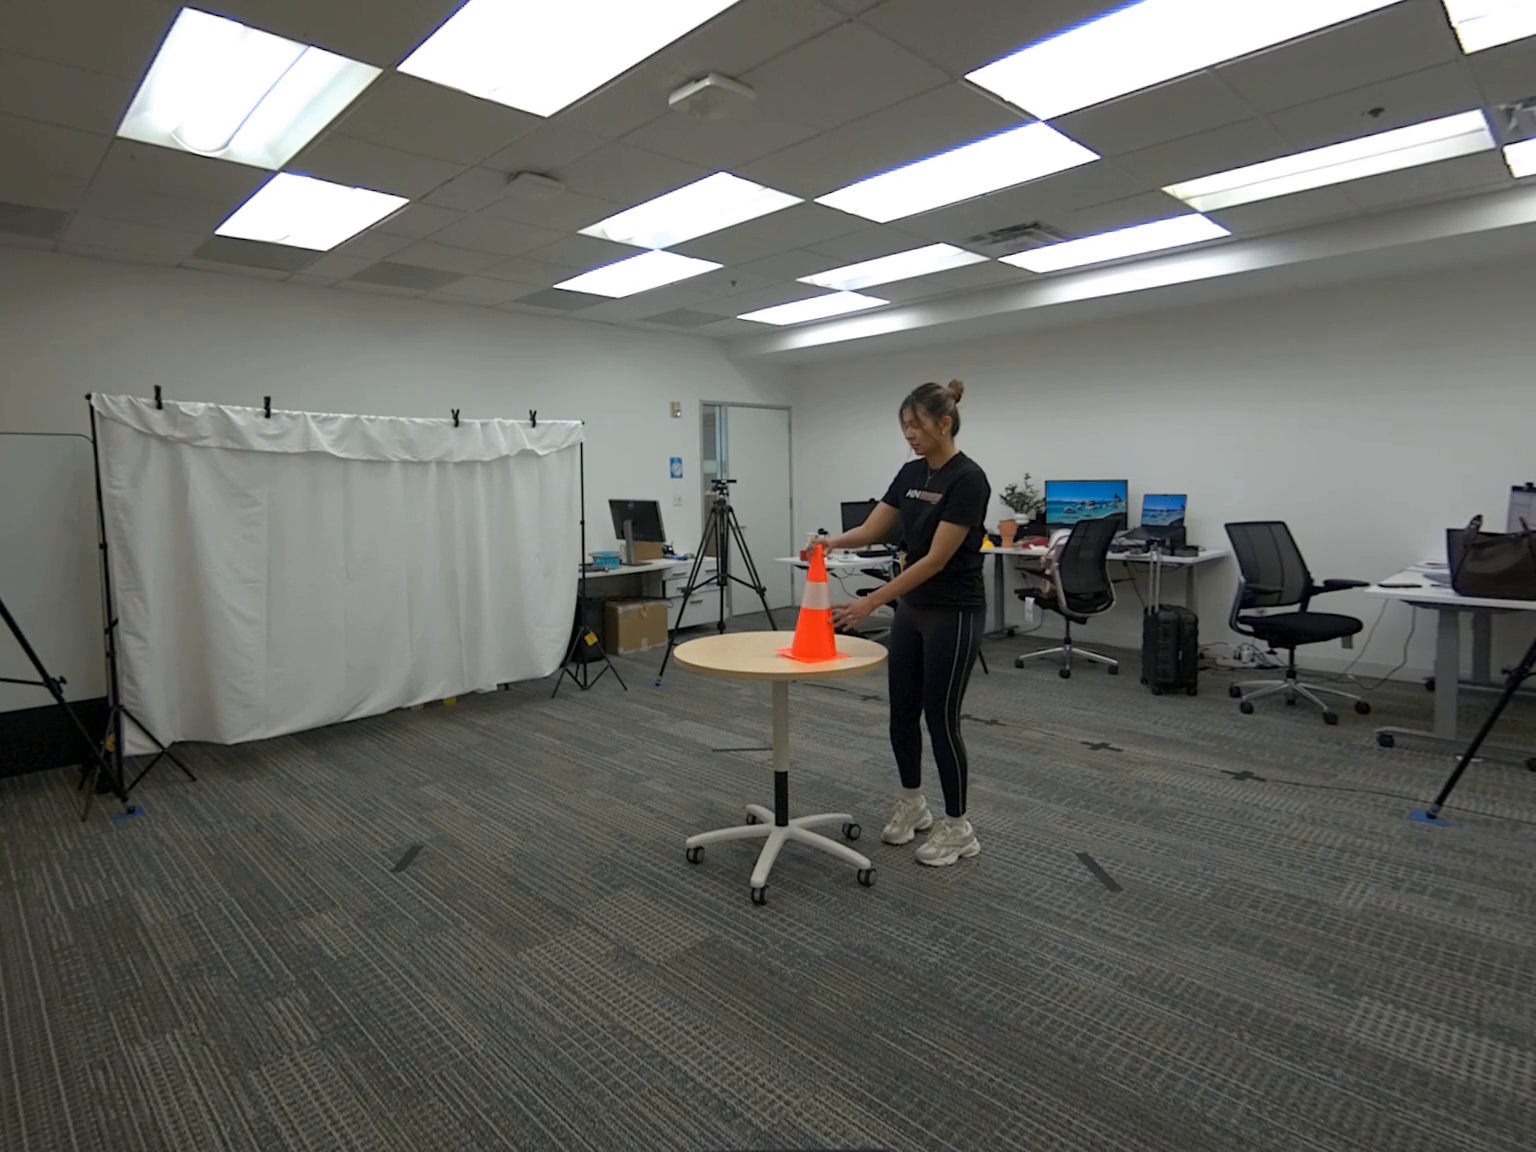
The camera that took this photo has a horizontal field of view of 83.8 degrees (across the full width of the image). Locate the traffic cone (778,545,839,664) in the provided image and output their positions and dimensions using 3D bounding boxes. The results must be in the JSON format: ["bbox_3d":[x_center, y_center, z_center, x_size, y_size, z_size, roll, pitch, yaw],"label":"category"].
[{"bbox_3d":[0.170,0.083,2.943,0.198,0.382,0.211,-3,6,-42],"label":"traffic cone"}]
